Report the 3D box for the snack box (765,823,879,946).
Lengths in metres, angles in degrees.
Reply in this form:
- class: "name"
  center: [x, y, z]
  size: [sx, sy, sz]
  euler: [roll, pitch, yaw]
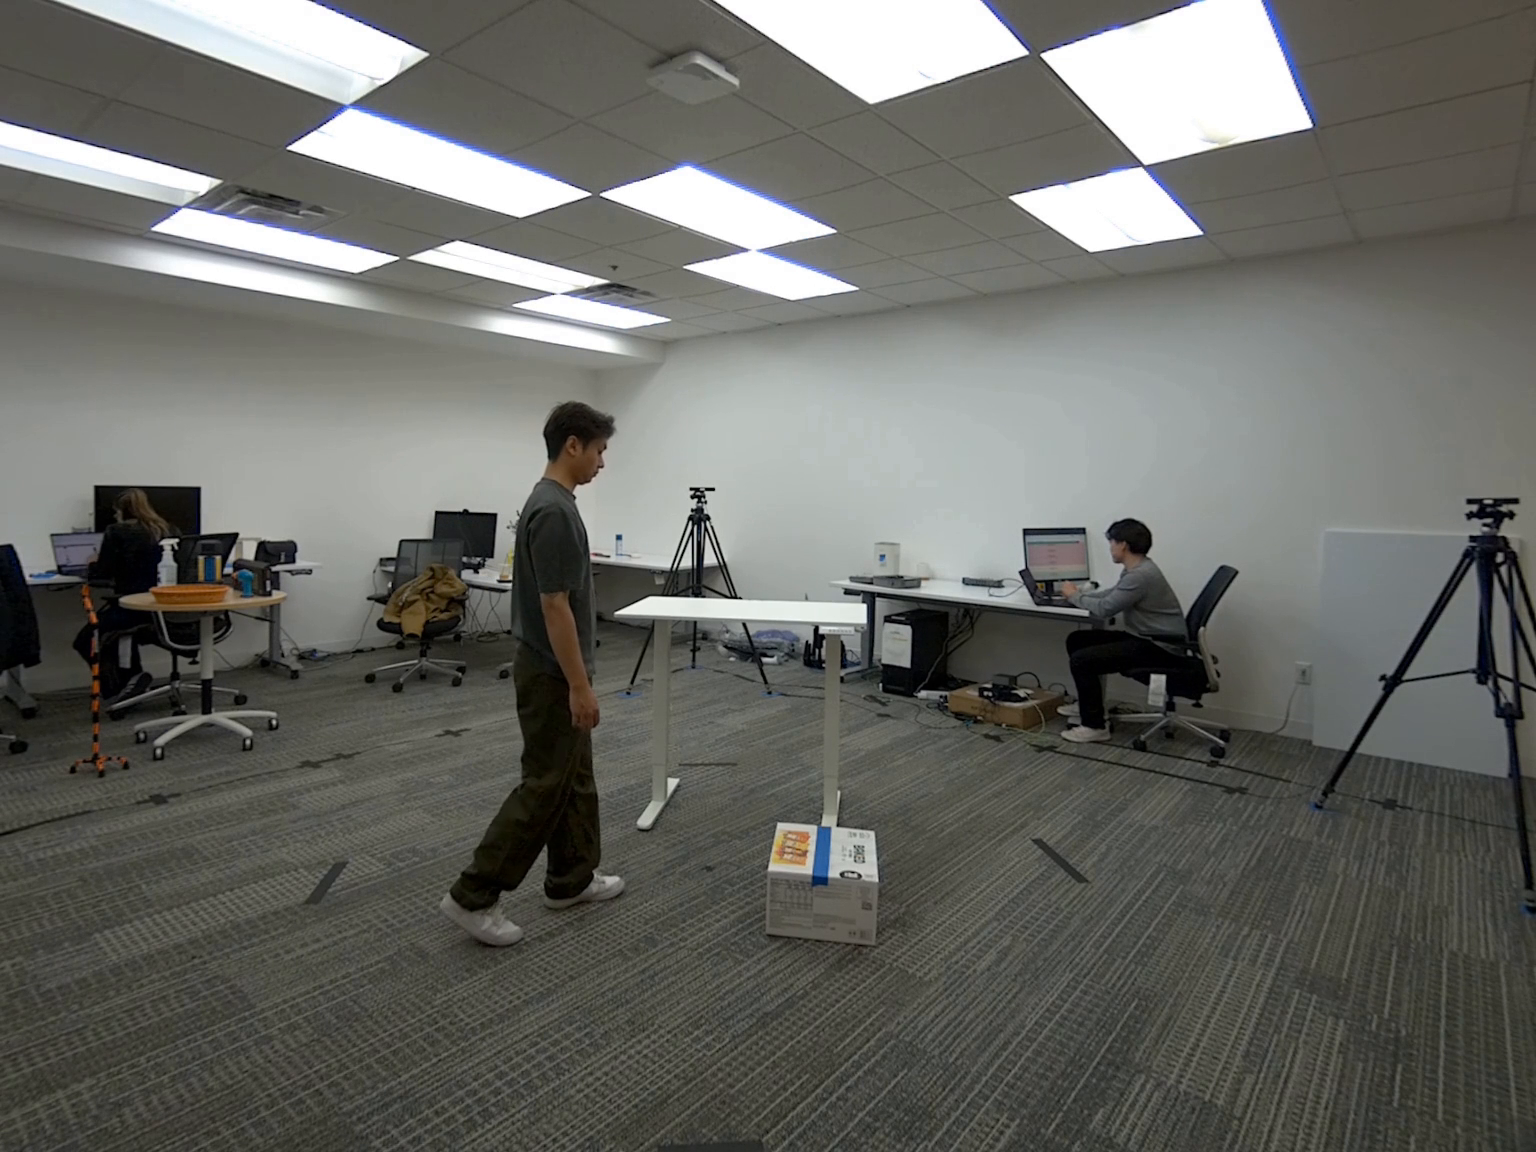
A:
- class: "snack box"
  center: [0.175, 1.005, 2.807]
  size: [0.343, 0.205, 0.403]
  euler: [2, 5, 7]
